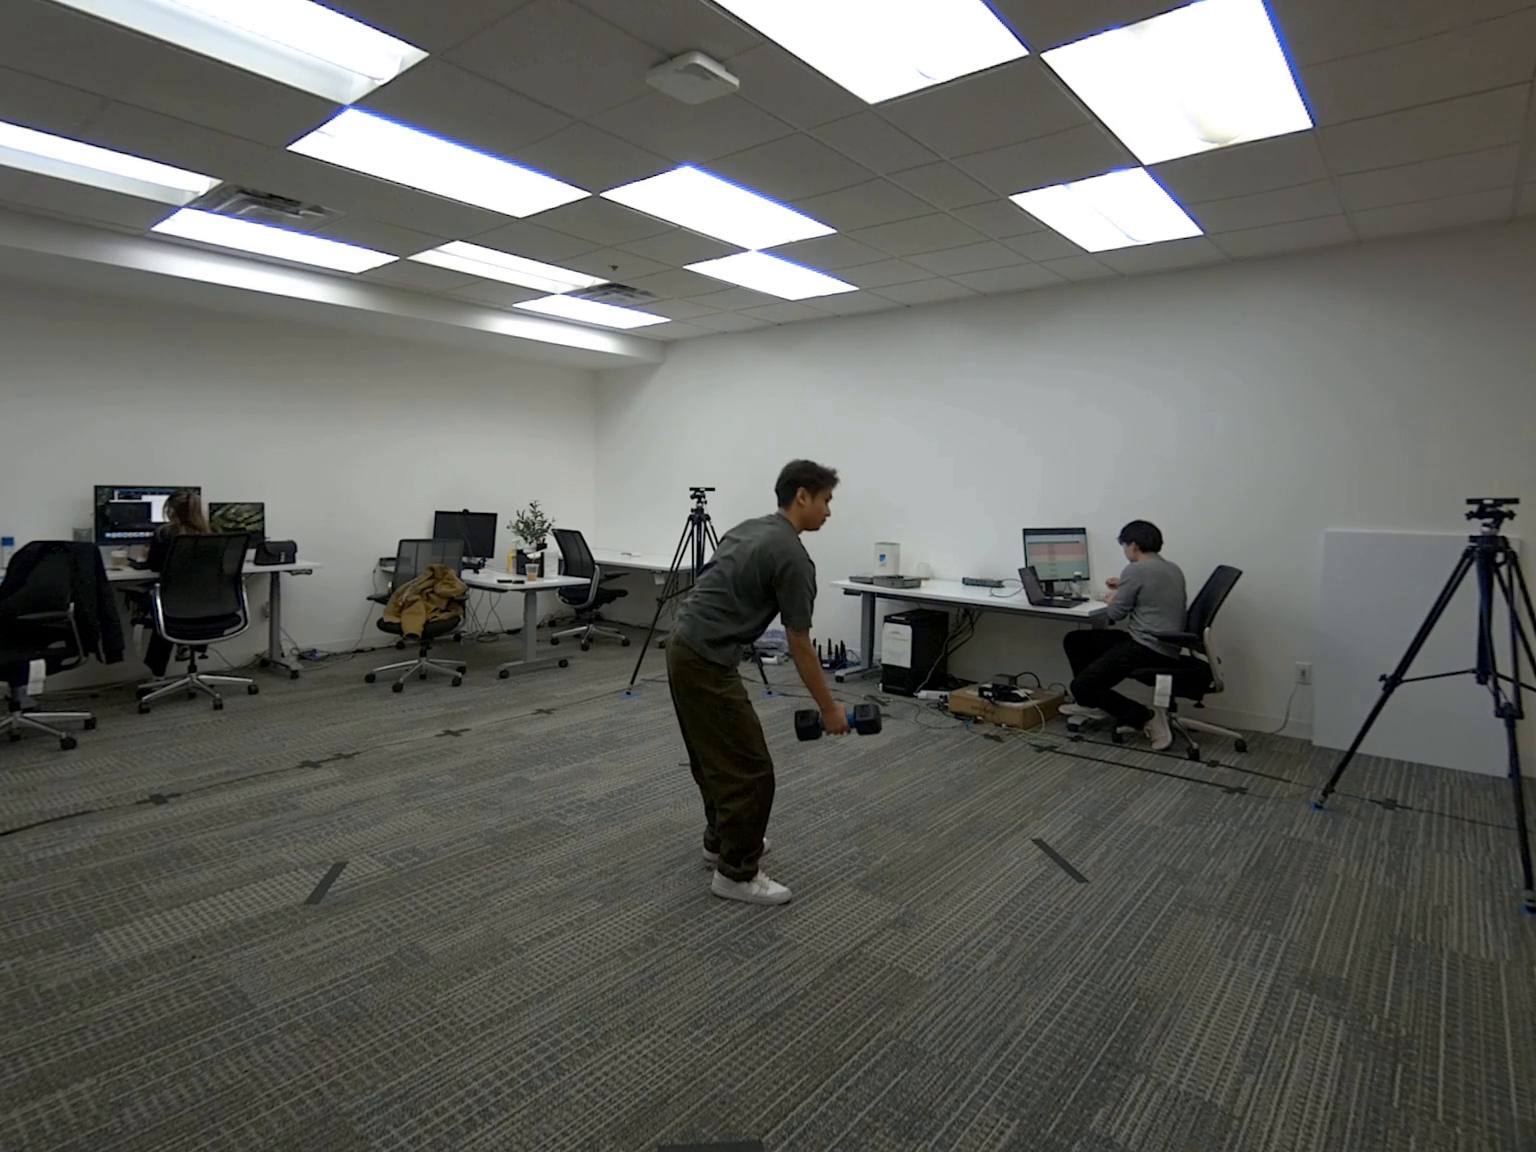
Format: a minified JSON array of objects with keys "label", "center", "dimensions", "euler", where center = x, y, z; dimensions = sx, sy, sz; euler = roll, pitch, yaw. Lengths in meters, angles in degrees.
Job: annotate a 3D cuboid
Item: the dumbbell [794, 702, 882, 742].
[{"label":"dumbbell","center":[0.239,0.514,2.970],"dimensions":[0.298,0.110,0.120],"euler":[-8,-8,17]}]
